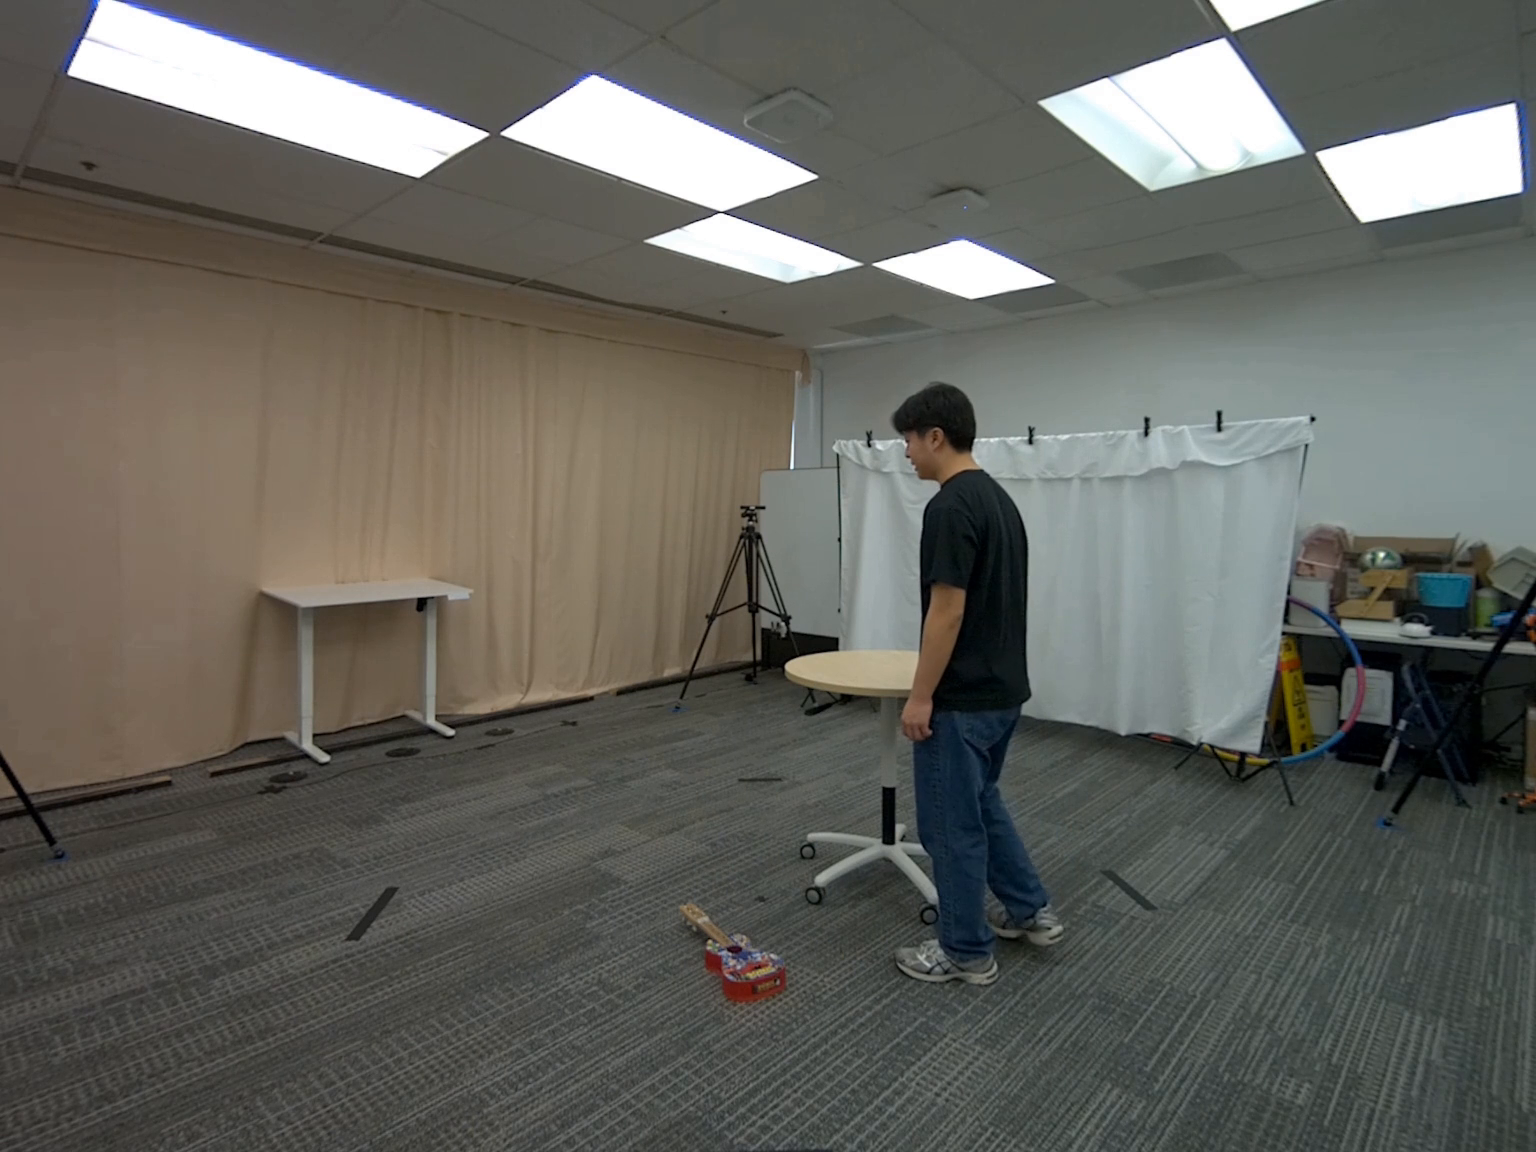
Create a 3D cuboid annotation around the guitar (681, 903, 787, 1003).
[{"bbox_3d":[-0.114,1.146,2.604,0.189,0.070,0.510,-3,6,-22],"label":"guitar"}]
